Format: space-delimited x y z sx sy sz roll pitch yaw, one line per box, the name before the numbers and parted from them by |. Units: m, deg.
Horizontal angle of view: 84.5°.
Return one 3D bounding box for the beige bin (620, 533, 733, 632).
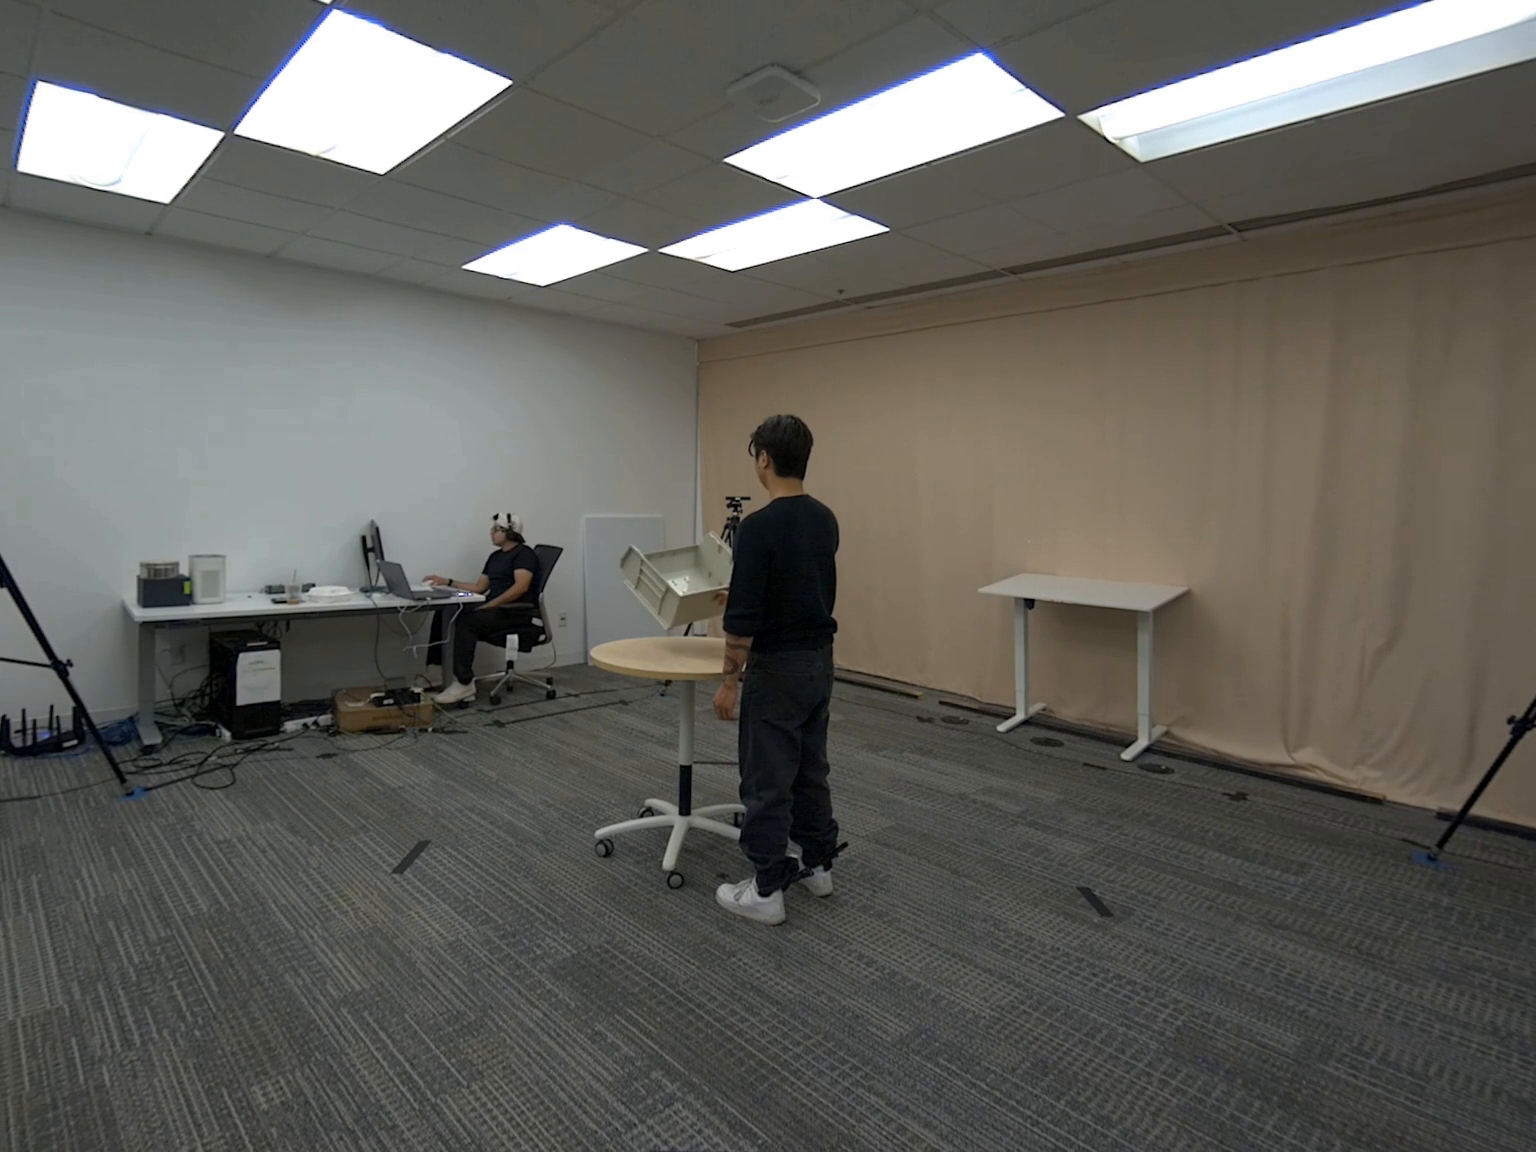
beige bin | -0.329 0.004 3.381 0.414 0.187 0.388 -12 44 -43
